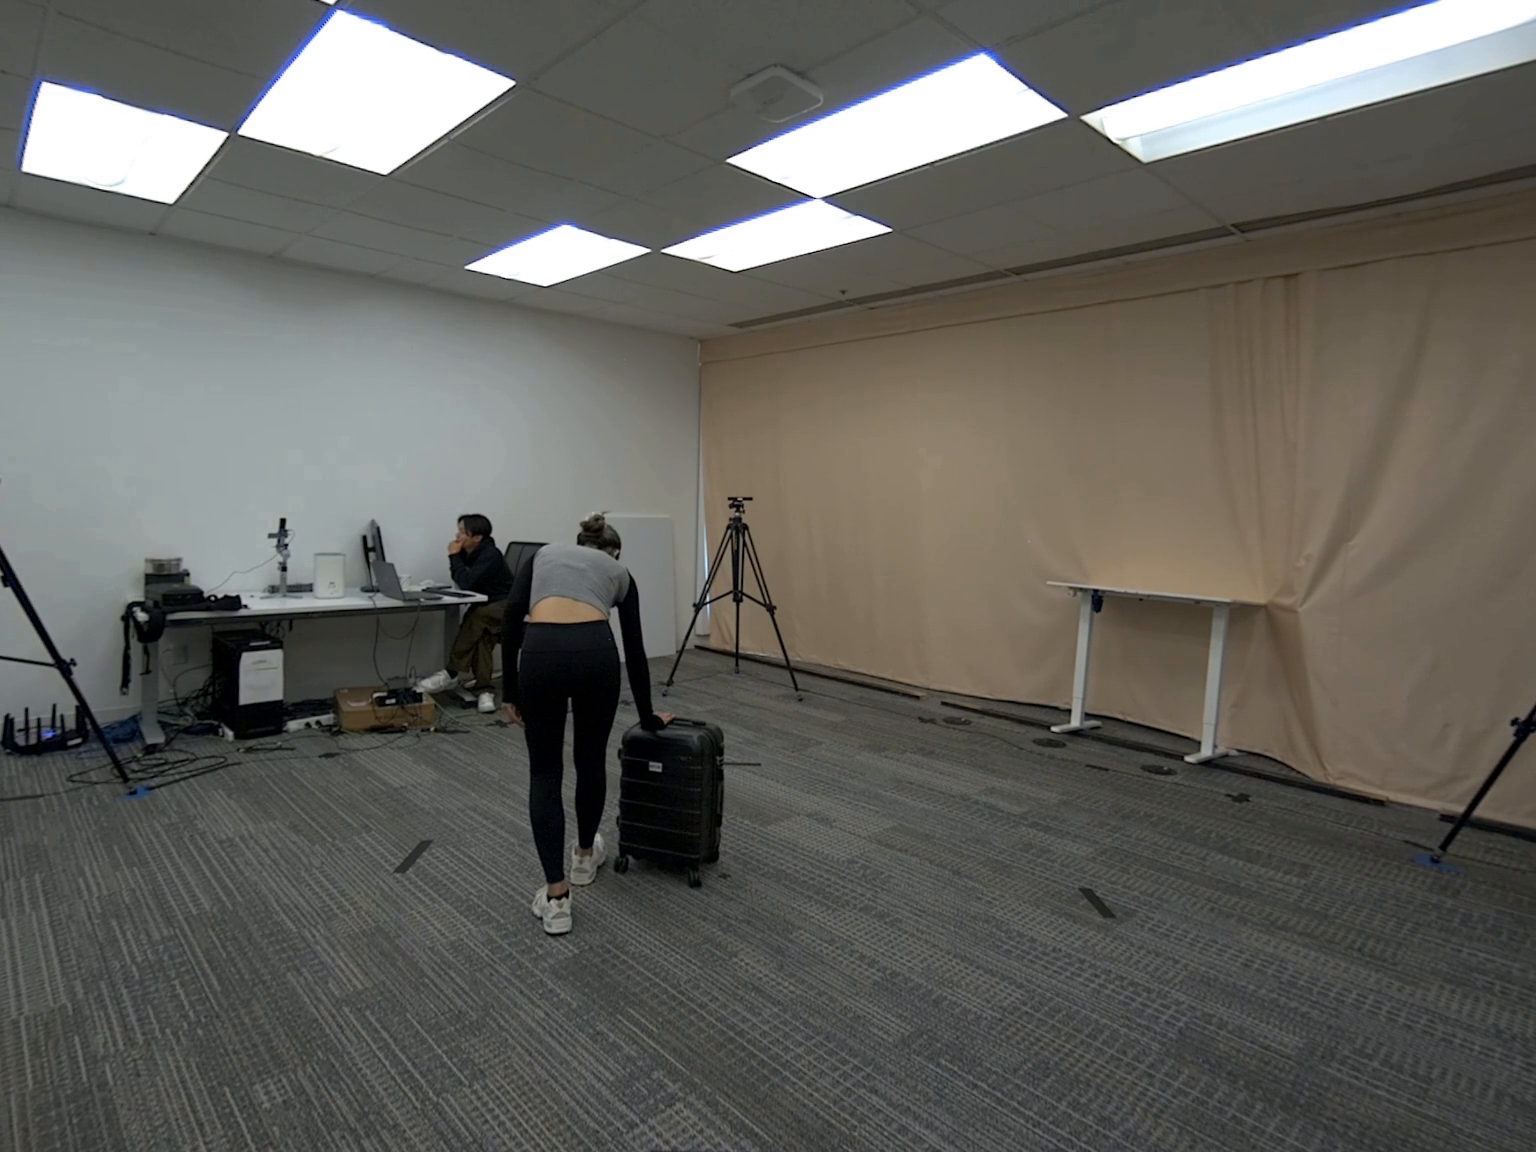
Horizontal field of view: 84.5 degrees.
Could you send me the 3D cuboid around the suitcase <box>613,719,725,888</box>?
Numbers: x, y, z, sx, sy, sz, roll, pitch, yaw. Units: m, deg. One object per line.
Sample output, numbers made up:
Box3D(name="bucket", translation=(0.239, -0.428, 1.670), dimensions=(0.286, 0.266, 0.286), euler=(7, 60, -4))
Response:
Box3D(name="suitcase", translation=(-0.366, 0.820, 3.175), dimensions=(0.382, 0.548, 0.245), euler=(3, 3, 20))
